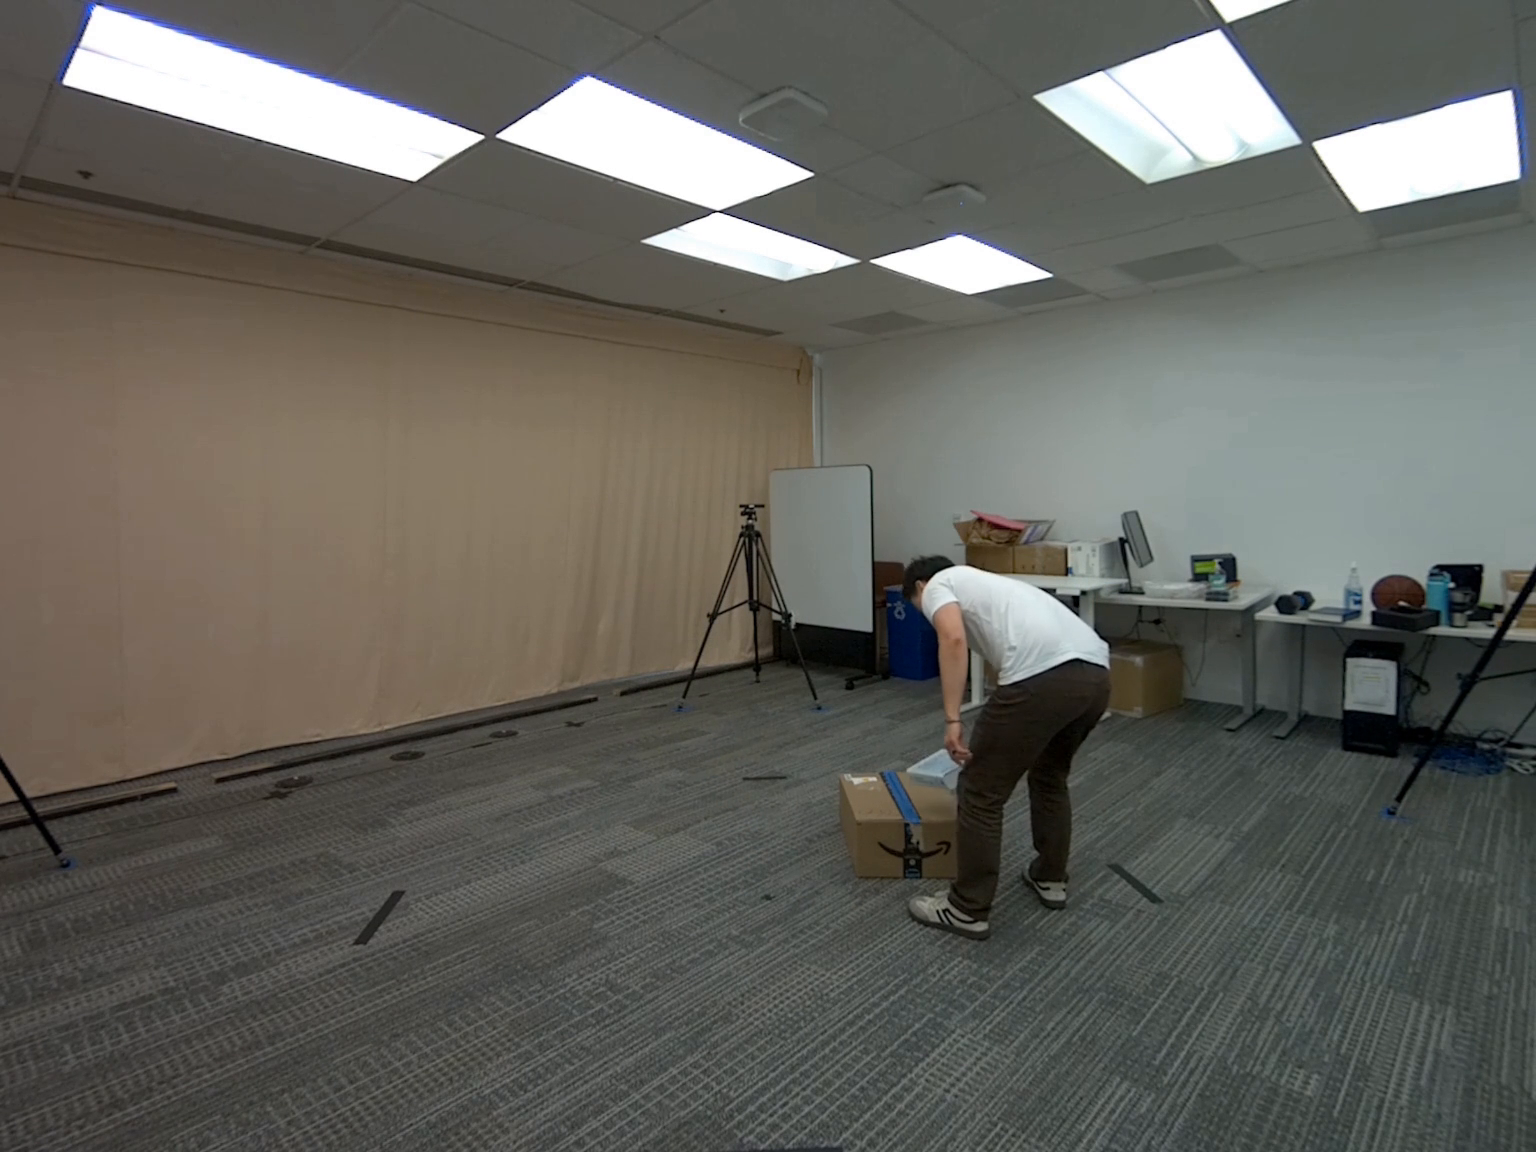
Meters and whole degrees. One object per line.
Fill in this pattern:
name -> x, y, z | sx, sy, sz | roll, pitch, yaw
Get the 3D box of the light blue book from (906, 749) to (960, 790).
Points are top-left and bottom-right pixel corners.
light blue book -> 0.667, 0.730, 3.193 | 0.189, 0.059, 0.265 | -24, 2, -20
